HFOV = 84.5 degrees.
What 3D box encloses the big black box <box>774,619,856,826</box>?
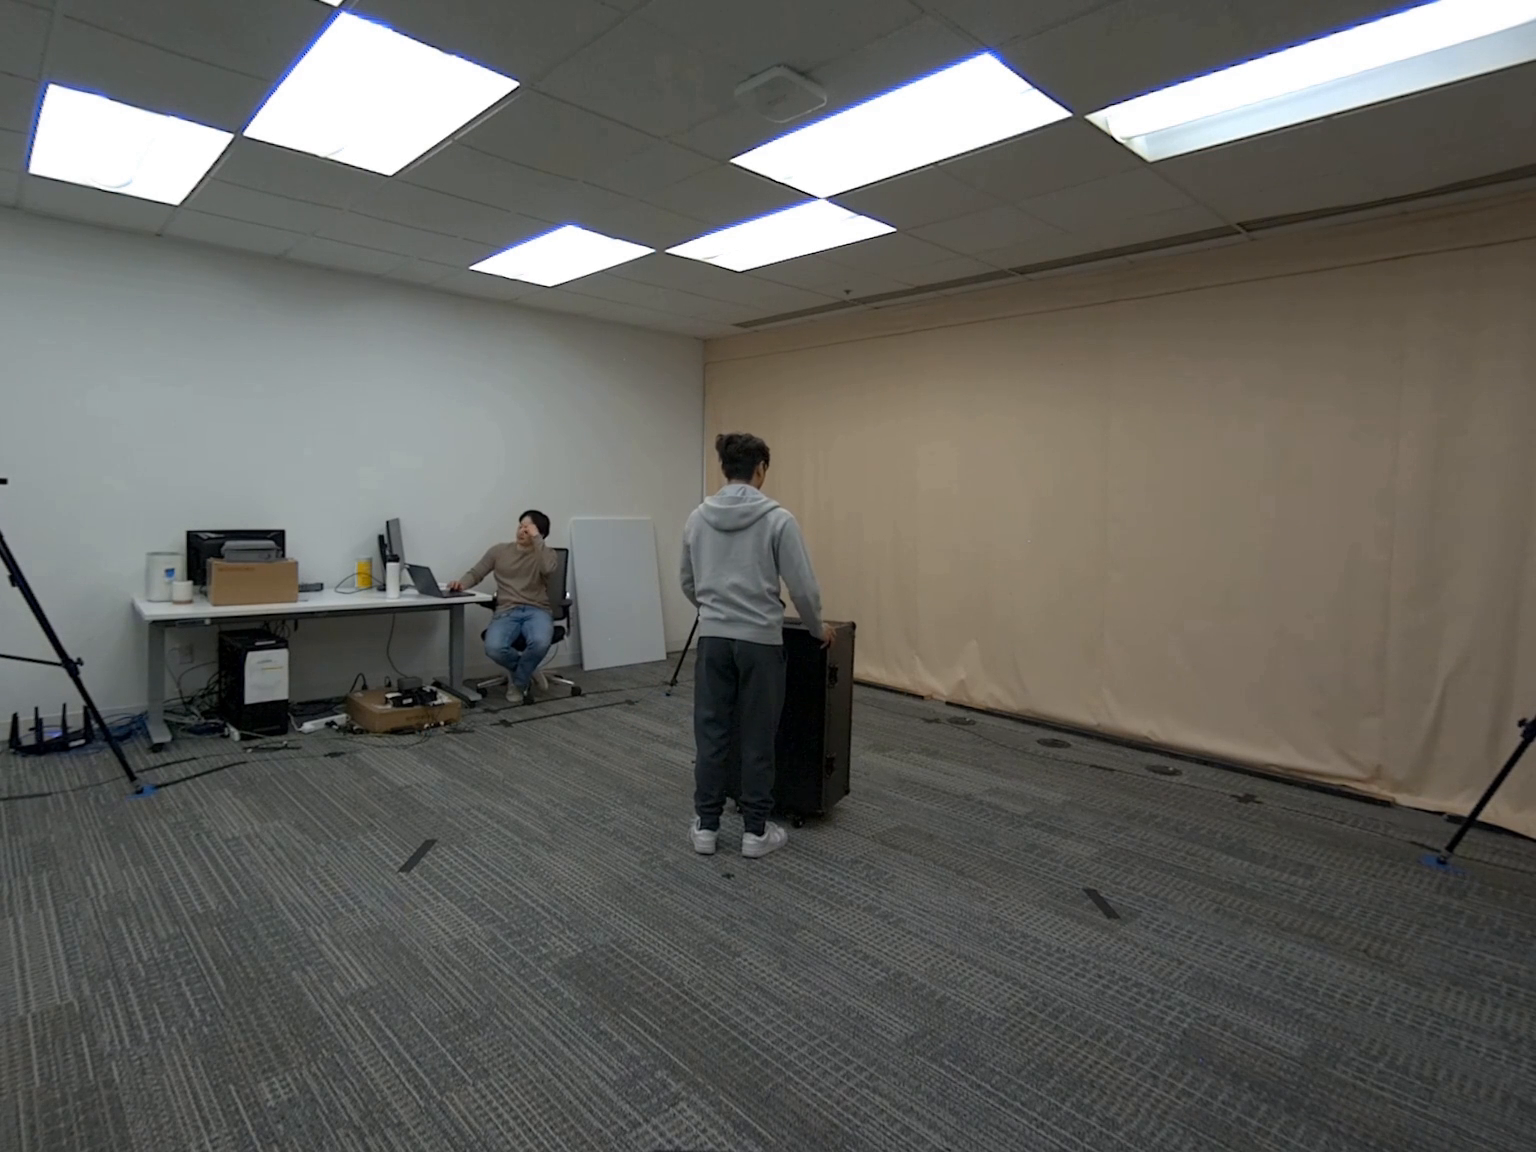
[{"bbox_3d":[0.091,0.625,3.789,0.532,0.860,0.389,3,3,27],"label":"big black box"}]
